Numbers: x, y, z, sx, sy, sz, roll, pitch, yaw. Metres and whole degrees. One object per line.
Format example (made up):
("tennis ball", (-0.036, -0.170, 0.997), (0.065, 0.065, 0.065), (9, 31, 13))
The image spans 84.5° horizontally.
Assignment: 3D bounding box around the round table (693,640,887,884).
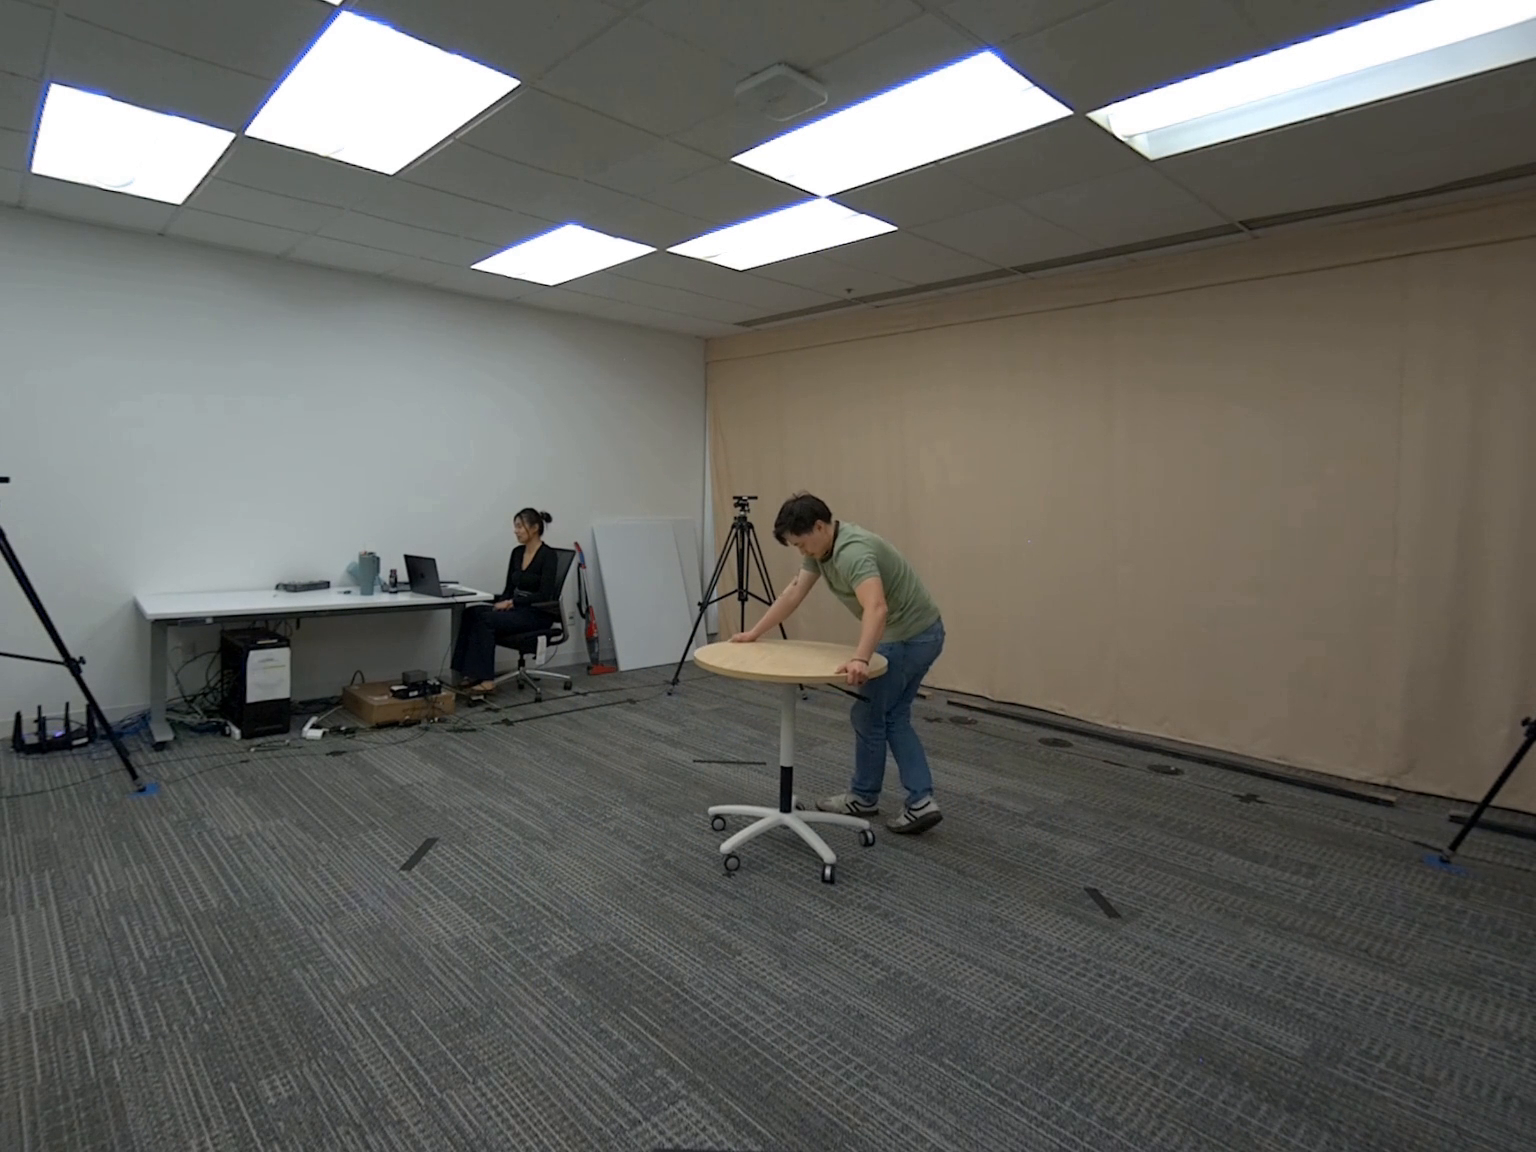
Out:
("round table", (0.071, 0.703, 3.356), (0.763, 0.792, 0.766), (2, 4, -1))
